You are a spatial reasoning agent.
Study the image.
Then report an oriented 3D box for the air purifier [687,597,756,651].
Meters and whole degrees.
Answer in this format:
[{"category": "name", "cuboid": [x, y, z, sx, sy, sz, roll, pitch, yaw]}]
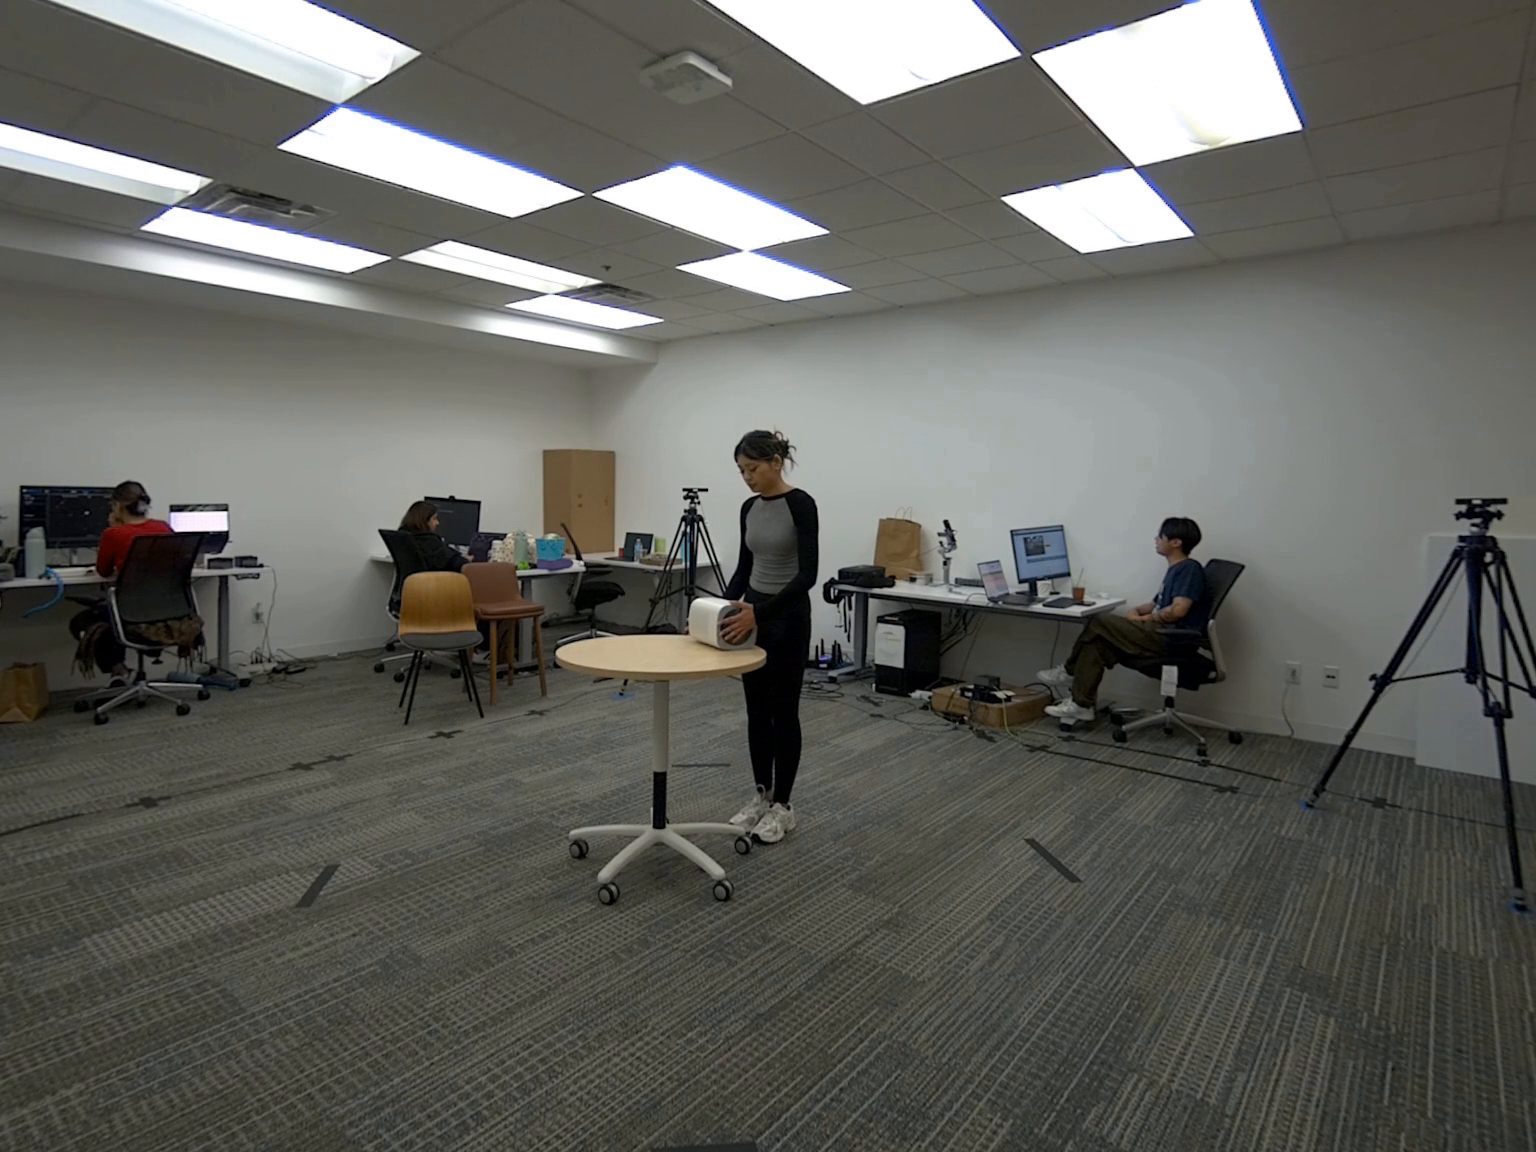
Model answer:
[{"category": "air purifier", "cuboid": [-0.194, 0.174, 3.270, 0.167, 0.171, 0.272, 1, 4, -24]}]
